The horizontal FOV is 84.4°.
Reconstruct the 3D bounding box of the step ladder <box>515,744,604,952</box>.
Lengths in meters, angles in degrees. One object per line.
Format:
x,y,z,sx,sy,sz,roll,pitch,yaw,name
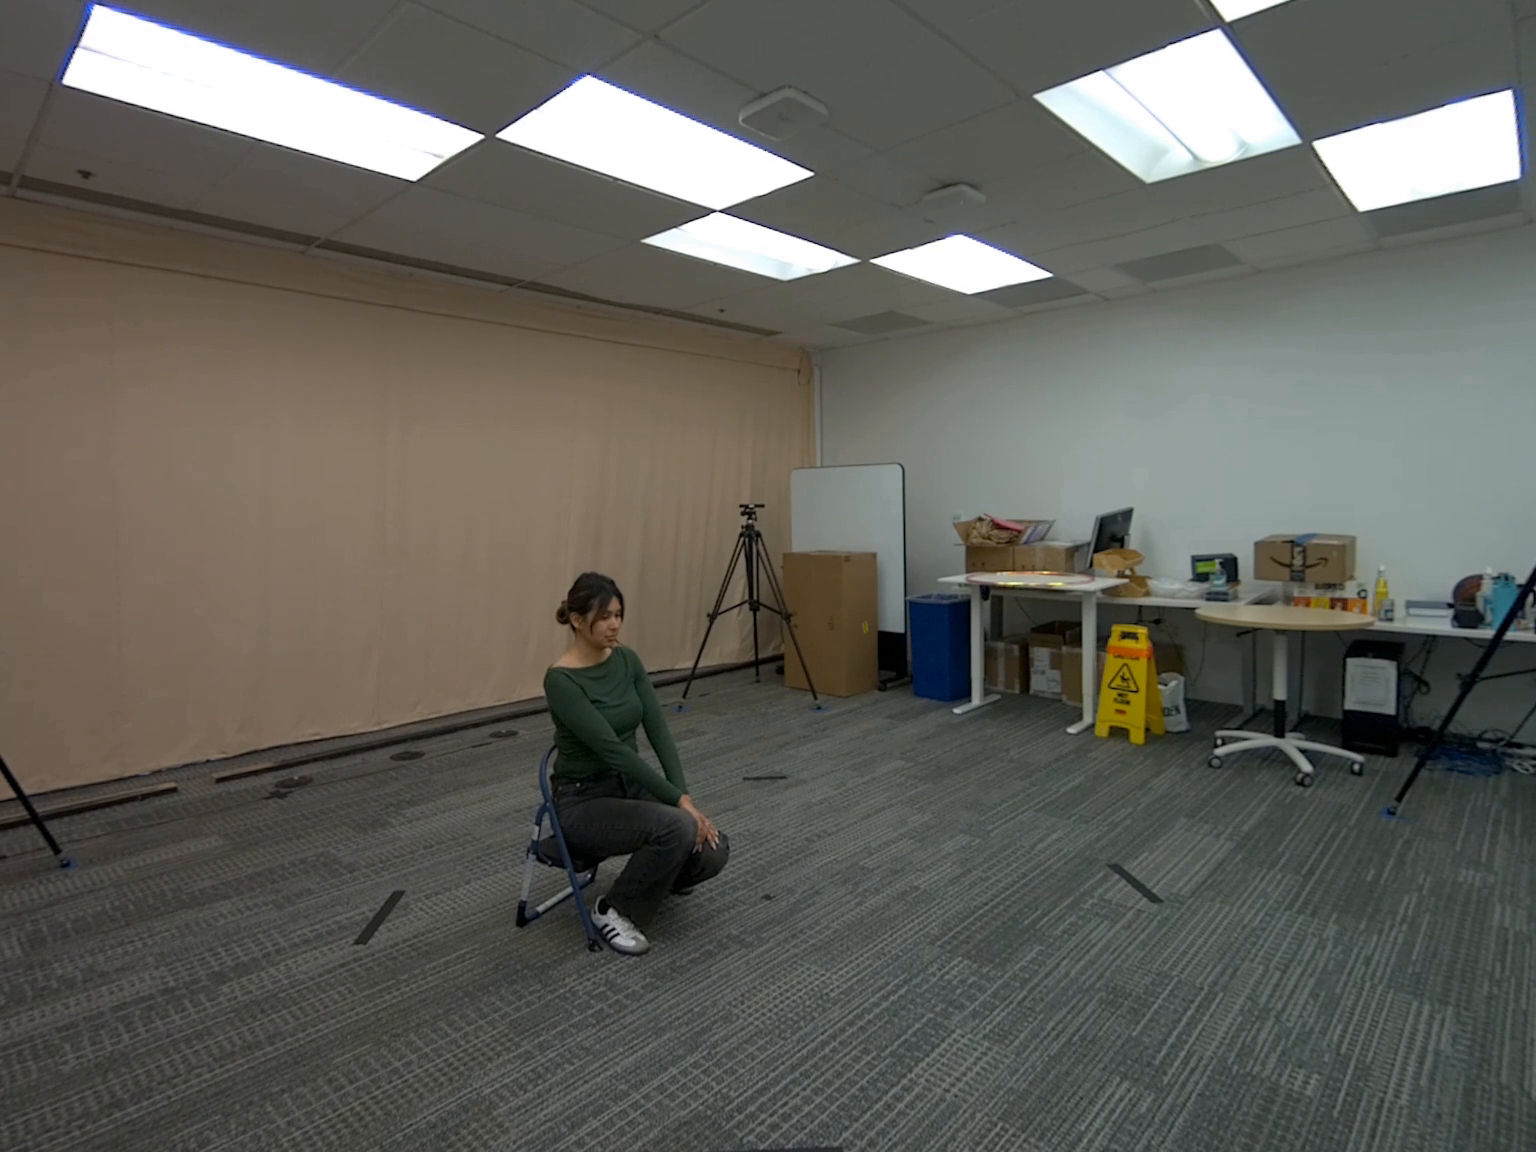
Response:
-0.614,0.867,2.898,0.359,0.605,0.420,0,3,27,step ladder
